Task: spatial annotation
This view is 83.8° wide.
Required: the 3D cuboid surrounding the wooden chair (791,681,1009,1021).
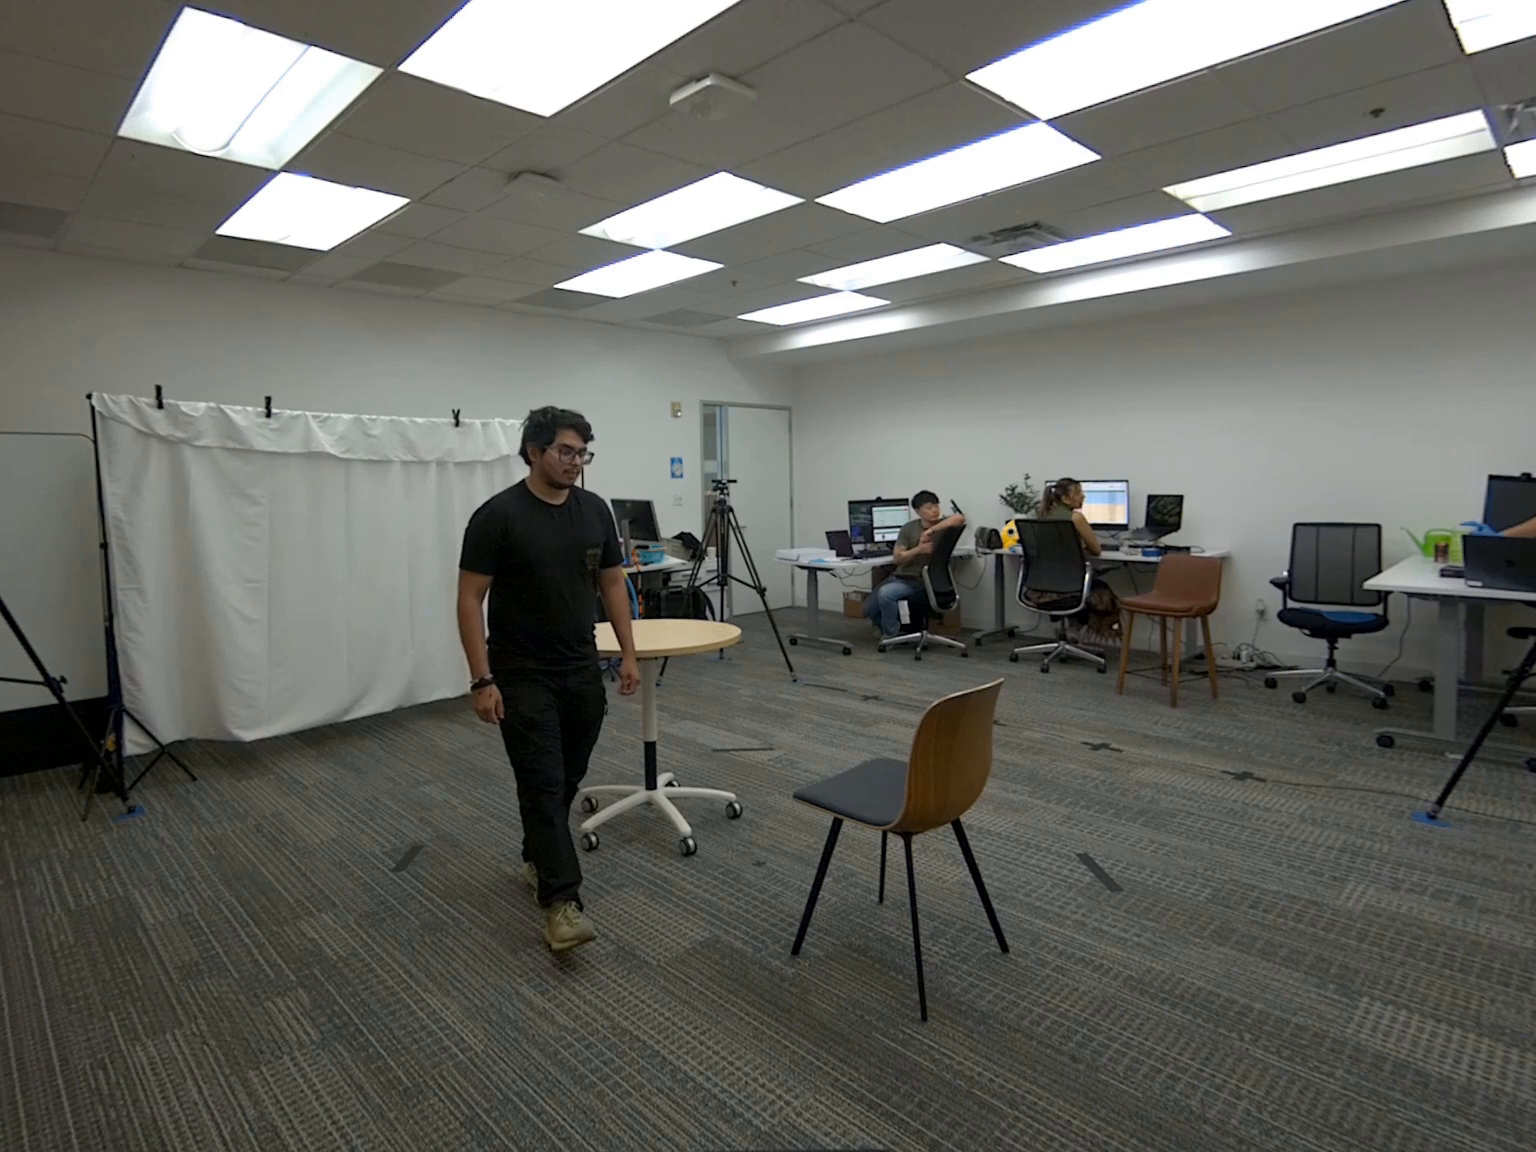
[{"bbox_3d":[0.372,0.679,2.487,0.540,0.872,0.465,9,10,44],"label":"wooden chair"}]
